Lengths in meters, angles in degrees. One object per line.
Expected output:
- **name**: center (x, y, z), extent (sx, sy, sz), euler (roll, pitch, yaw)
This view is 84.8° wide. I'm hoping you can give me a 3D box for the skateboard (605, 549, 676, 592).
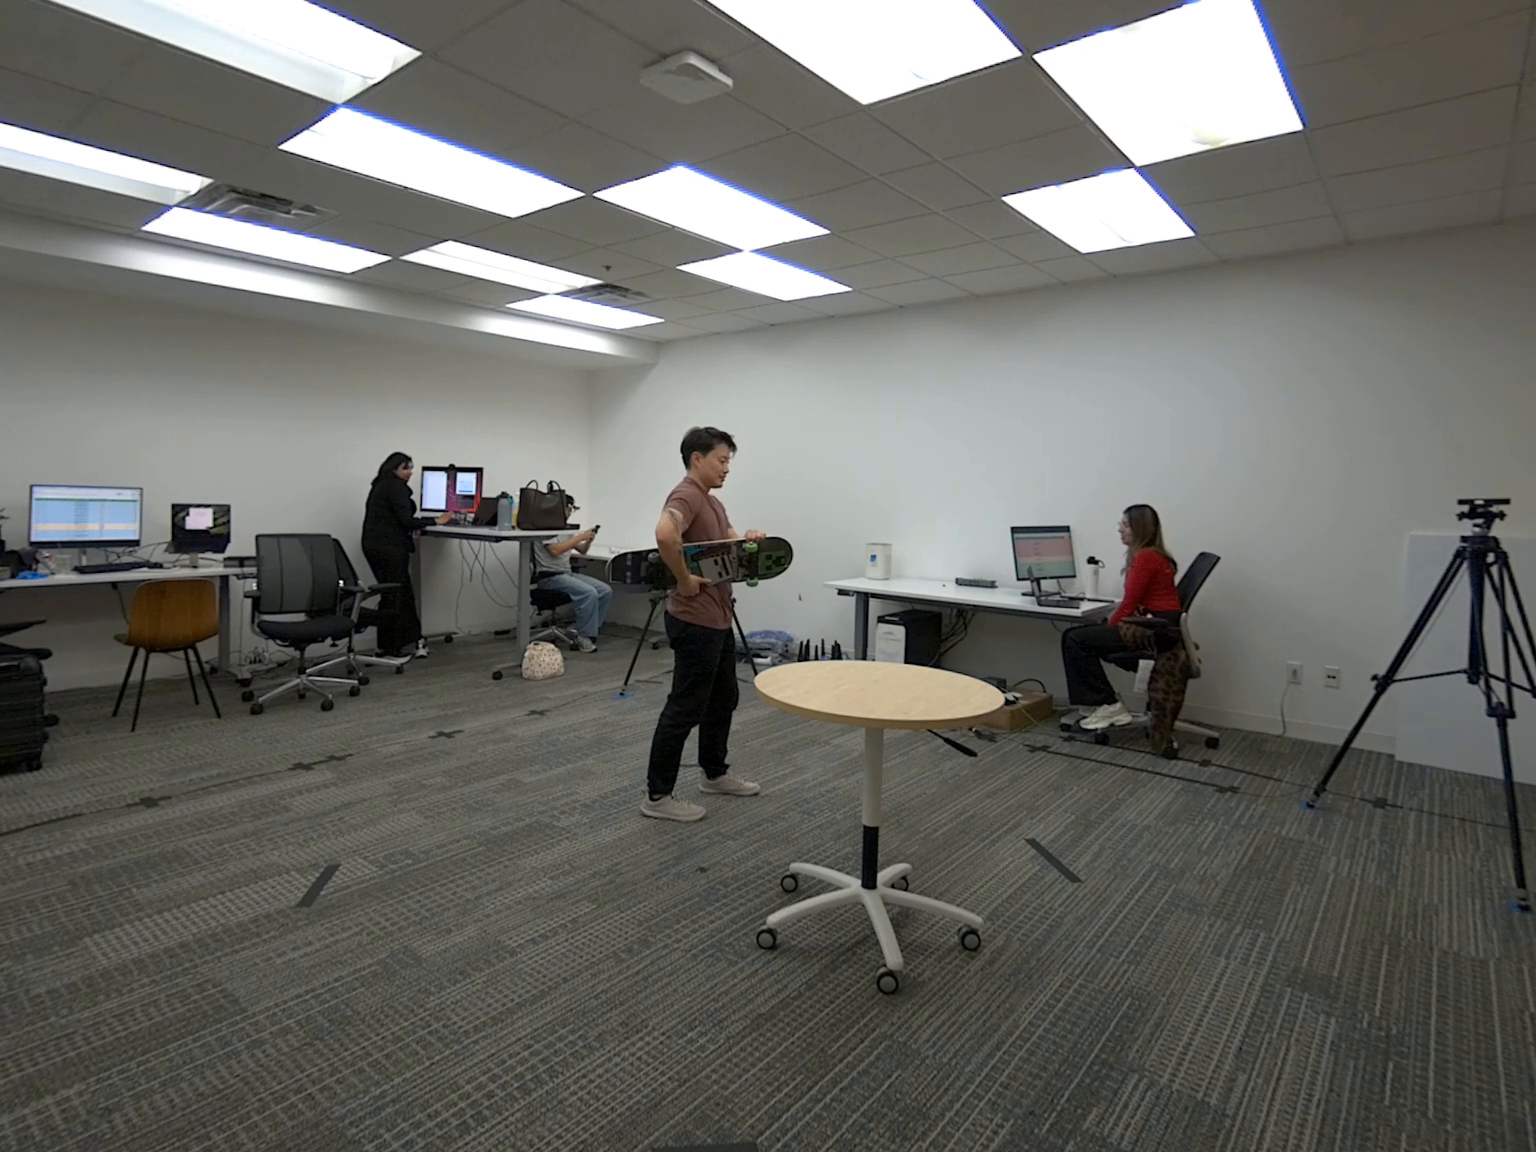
- **skateboard**: center (-0.275, -0.036, 3.506), extent (0.779, 0.190, 0.113), euler (-4, 21, -8)
